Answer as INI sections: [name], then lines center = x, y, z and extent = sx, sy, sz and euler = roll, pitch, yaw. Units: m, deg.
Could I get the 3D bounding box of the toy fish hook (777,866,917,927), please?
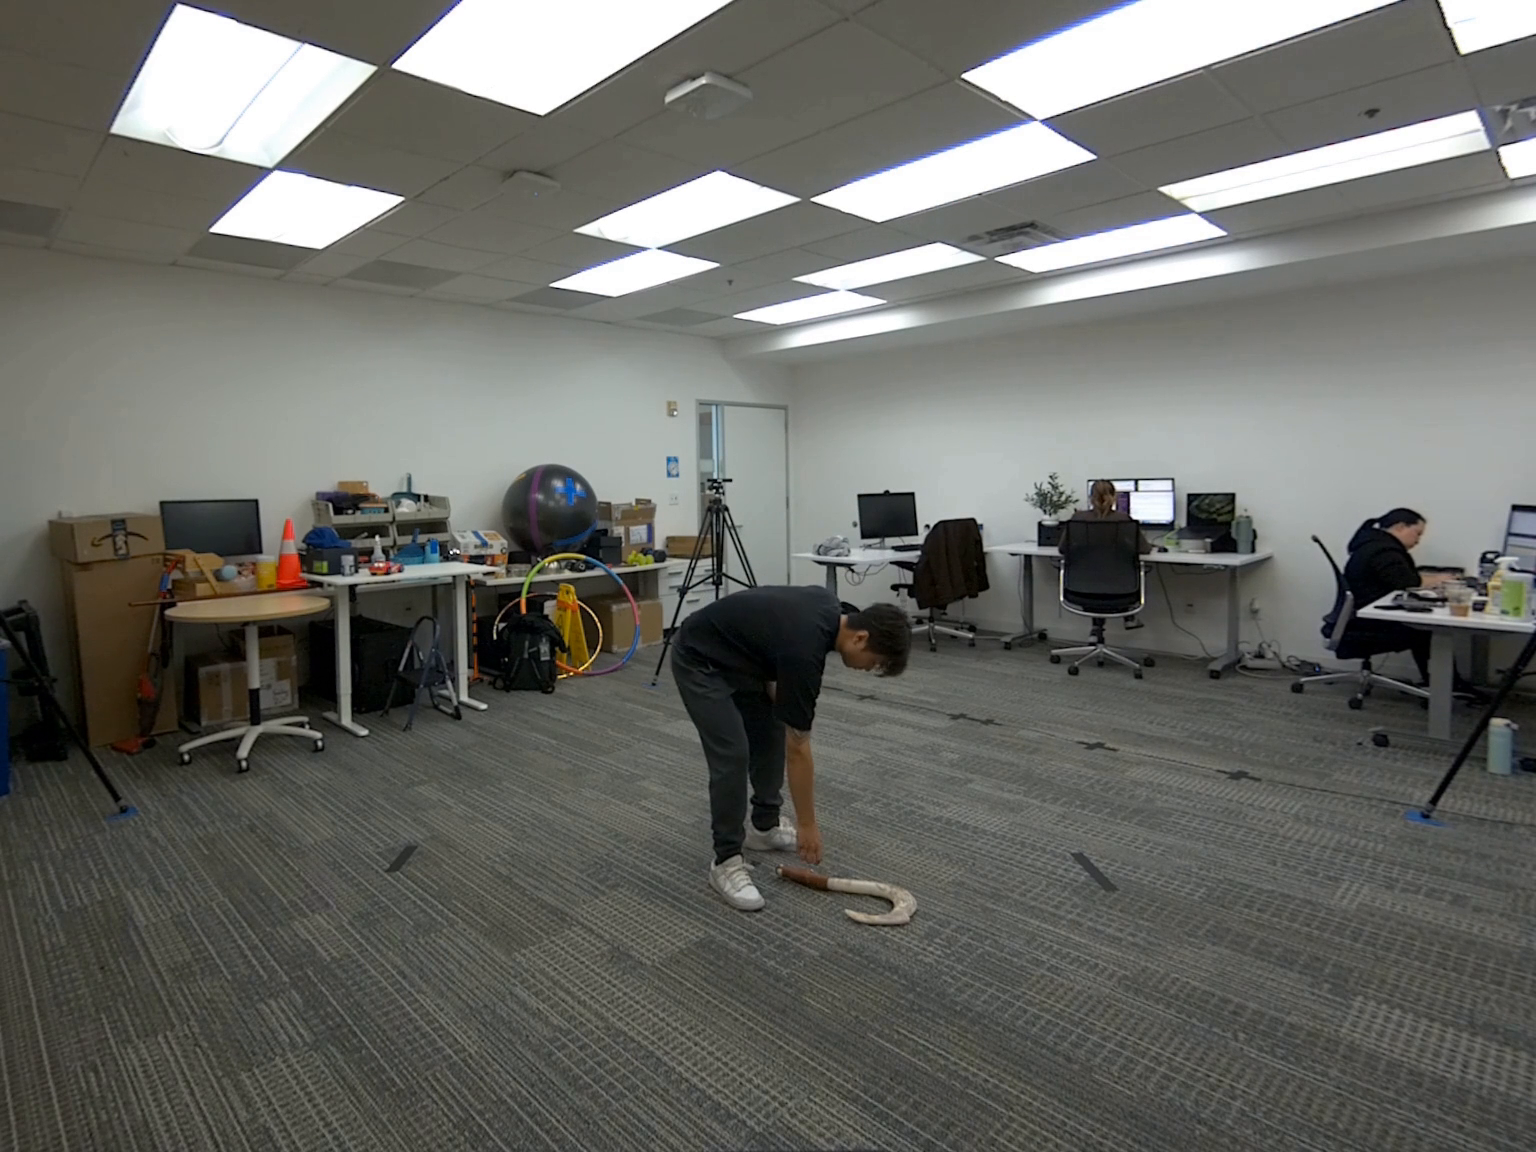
[toy fish hook]
center = 0.234, 1.049, 2.822
extent = 0.520, 0.048, 0.220
euler = 2, 6, 30
